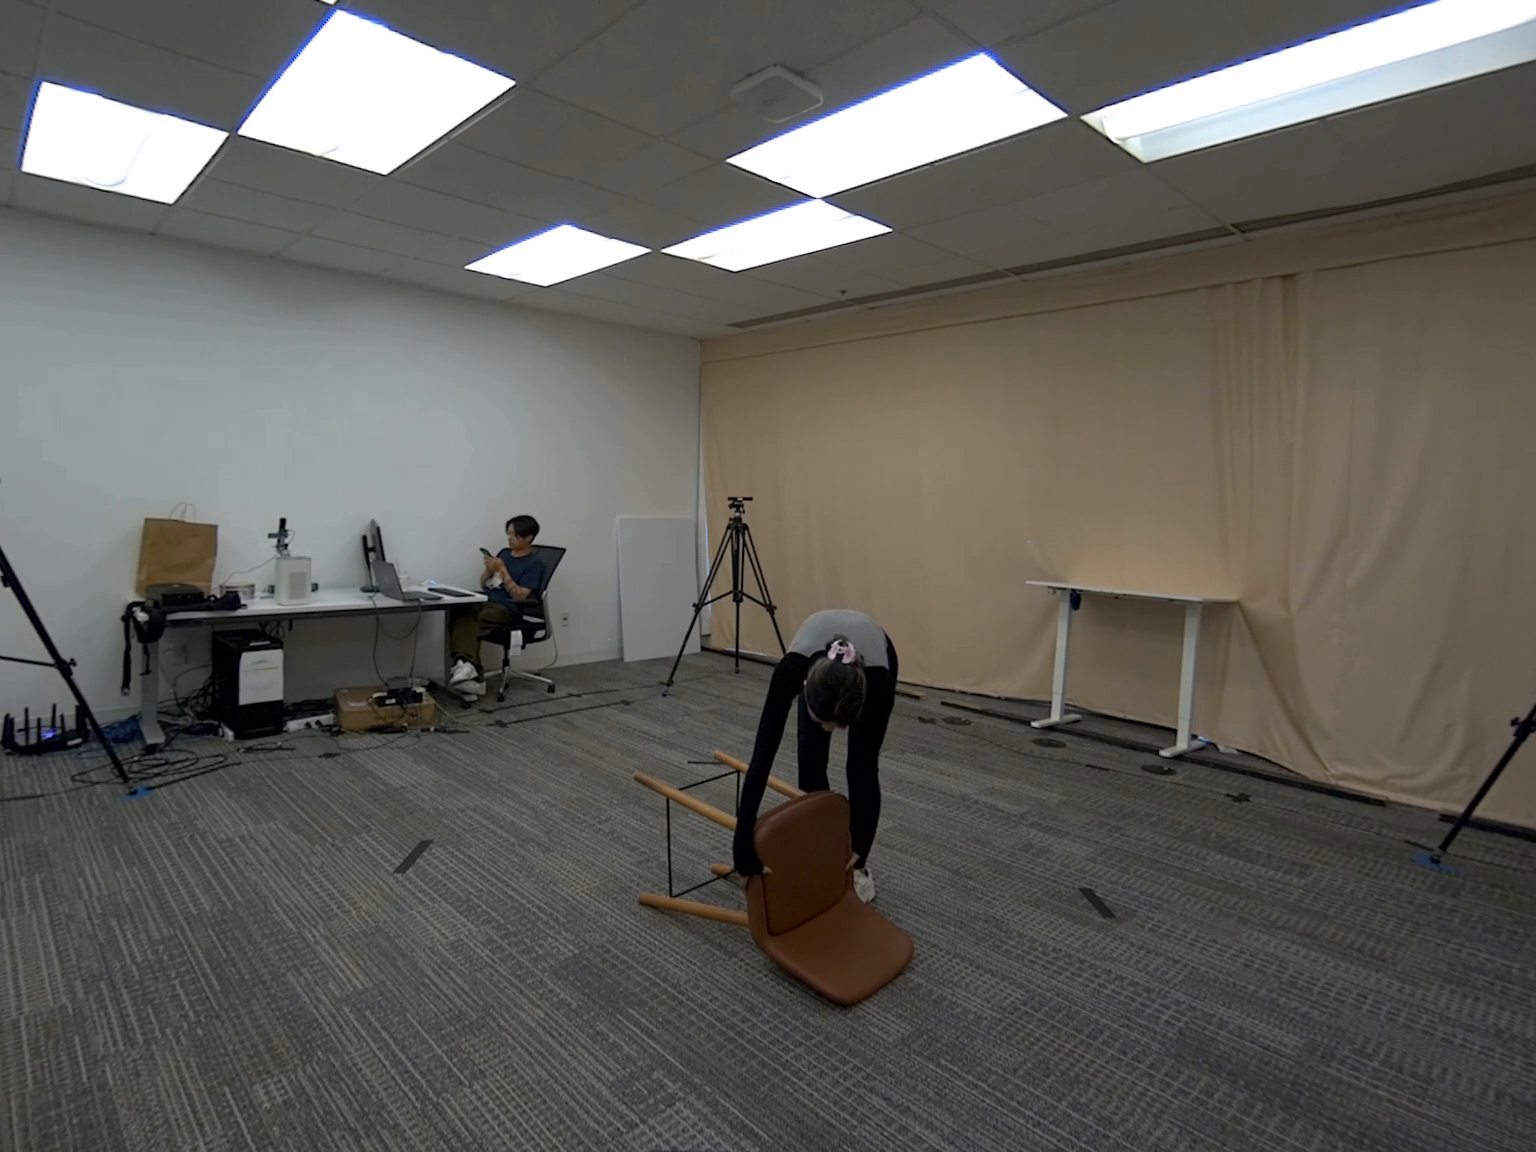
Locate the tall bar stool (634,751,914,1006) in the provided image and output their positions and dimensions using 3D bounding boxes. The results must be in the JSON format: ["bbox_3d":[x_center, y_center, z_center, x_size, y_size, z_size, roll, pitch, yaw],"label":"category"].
[{"bbox_3d":[-0.006,0.919,2.699,0.913,0.466,0.446,6,6,44],"label":"tall bar stool"}]
